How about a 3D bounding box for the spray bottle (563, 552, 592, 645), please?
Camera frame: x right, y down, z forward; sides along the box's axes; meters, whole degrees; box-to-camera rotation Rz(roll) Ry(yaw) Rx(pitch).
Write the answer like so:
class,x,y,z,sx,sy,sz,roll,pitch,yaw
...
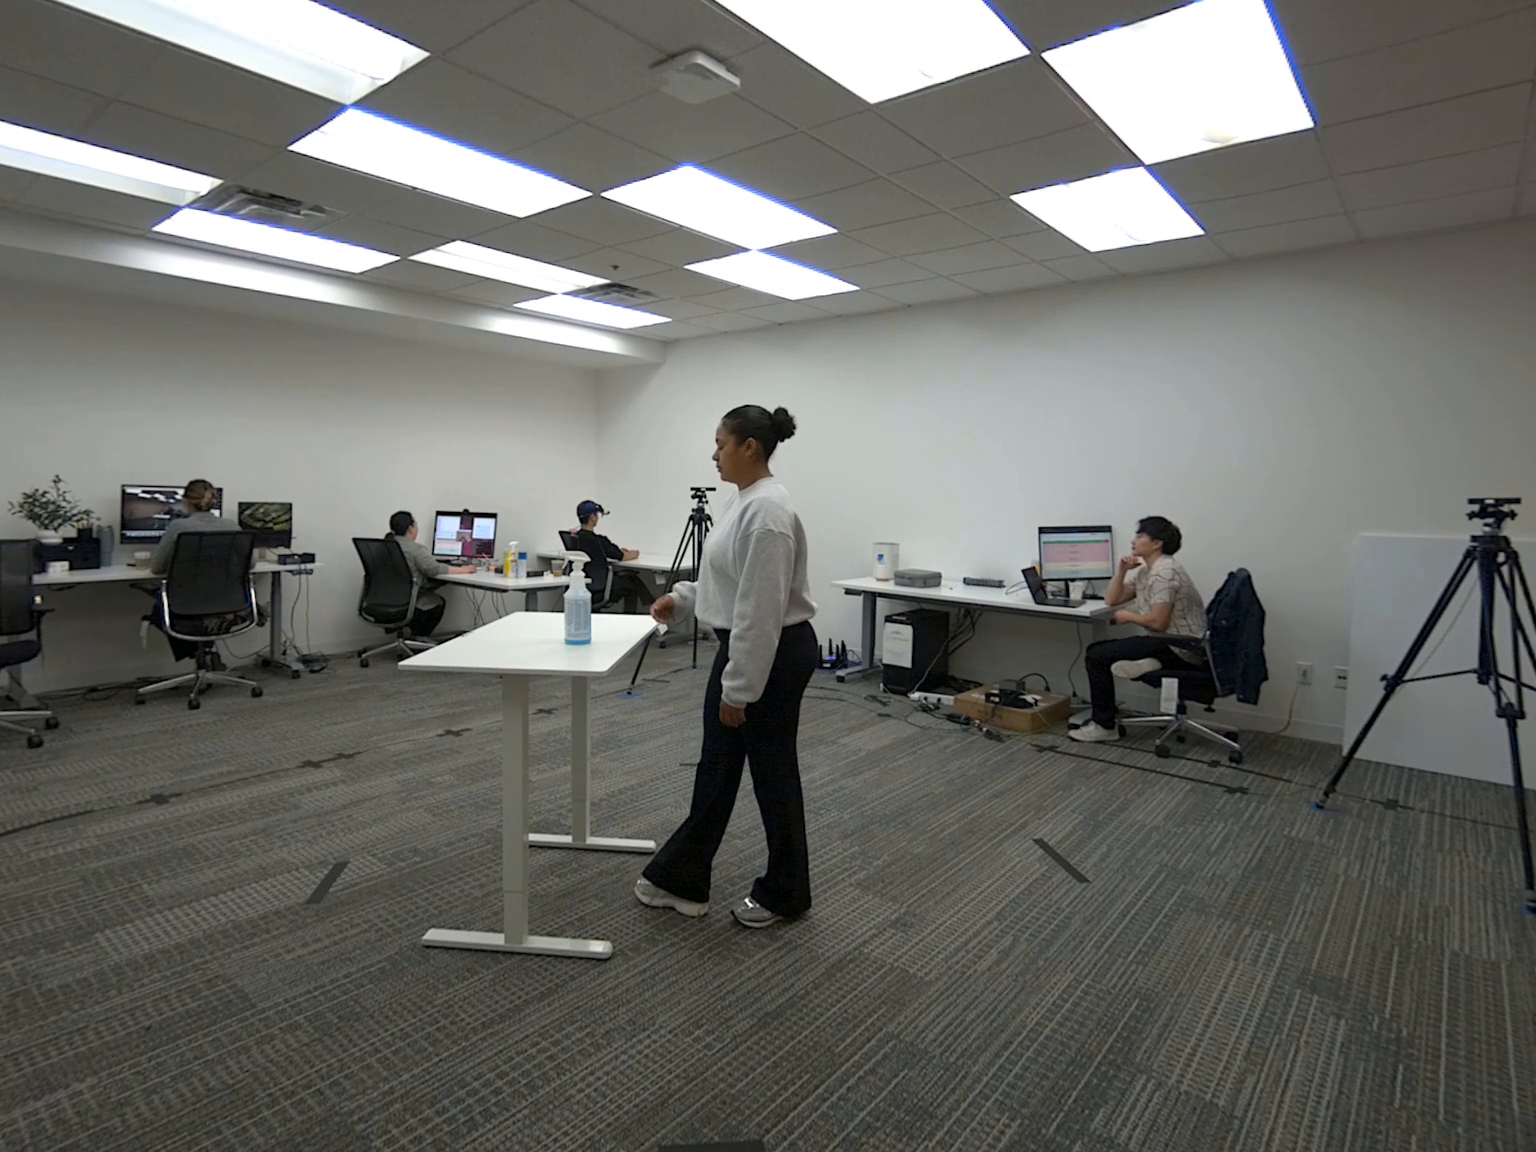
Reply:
class,x,y,z,sx,sy,sz,roll,pitch,yaw
spray bottle,-0.626,0.069,2.744,0.091,0.296,0.086,0,3,7
